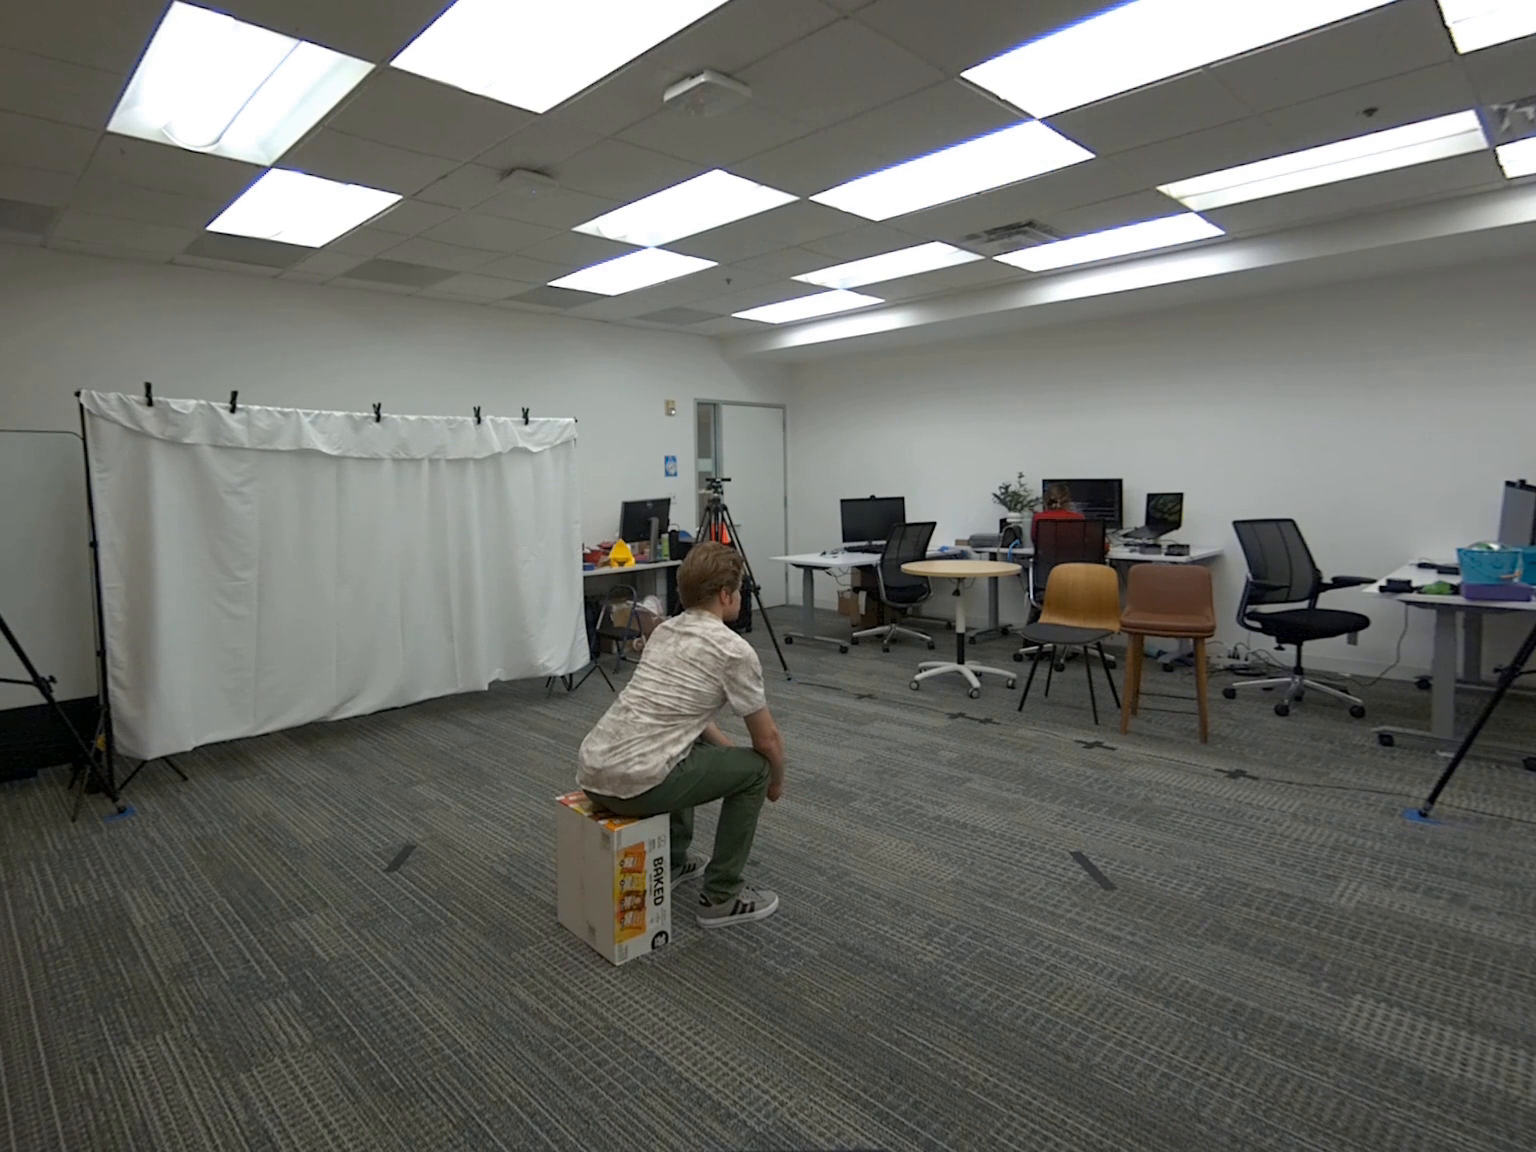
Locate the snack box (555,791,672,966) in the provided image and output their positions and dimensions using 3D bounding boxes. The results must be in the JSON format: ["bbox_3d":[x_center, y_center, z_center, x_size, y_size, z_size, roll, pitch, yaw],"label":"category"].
[{"bbox_3d":[-0.480,0.906,2.637,0.200,0.403,0.351,-4,6,-42],"label":"snack box"}]
